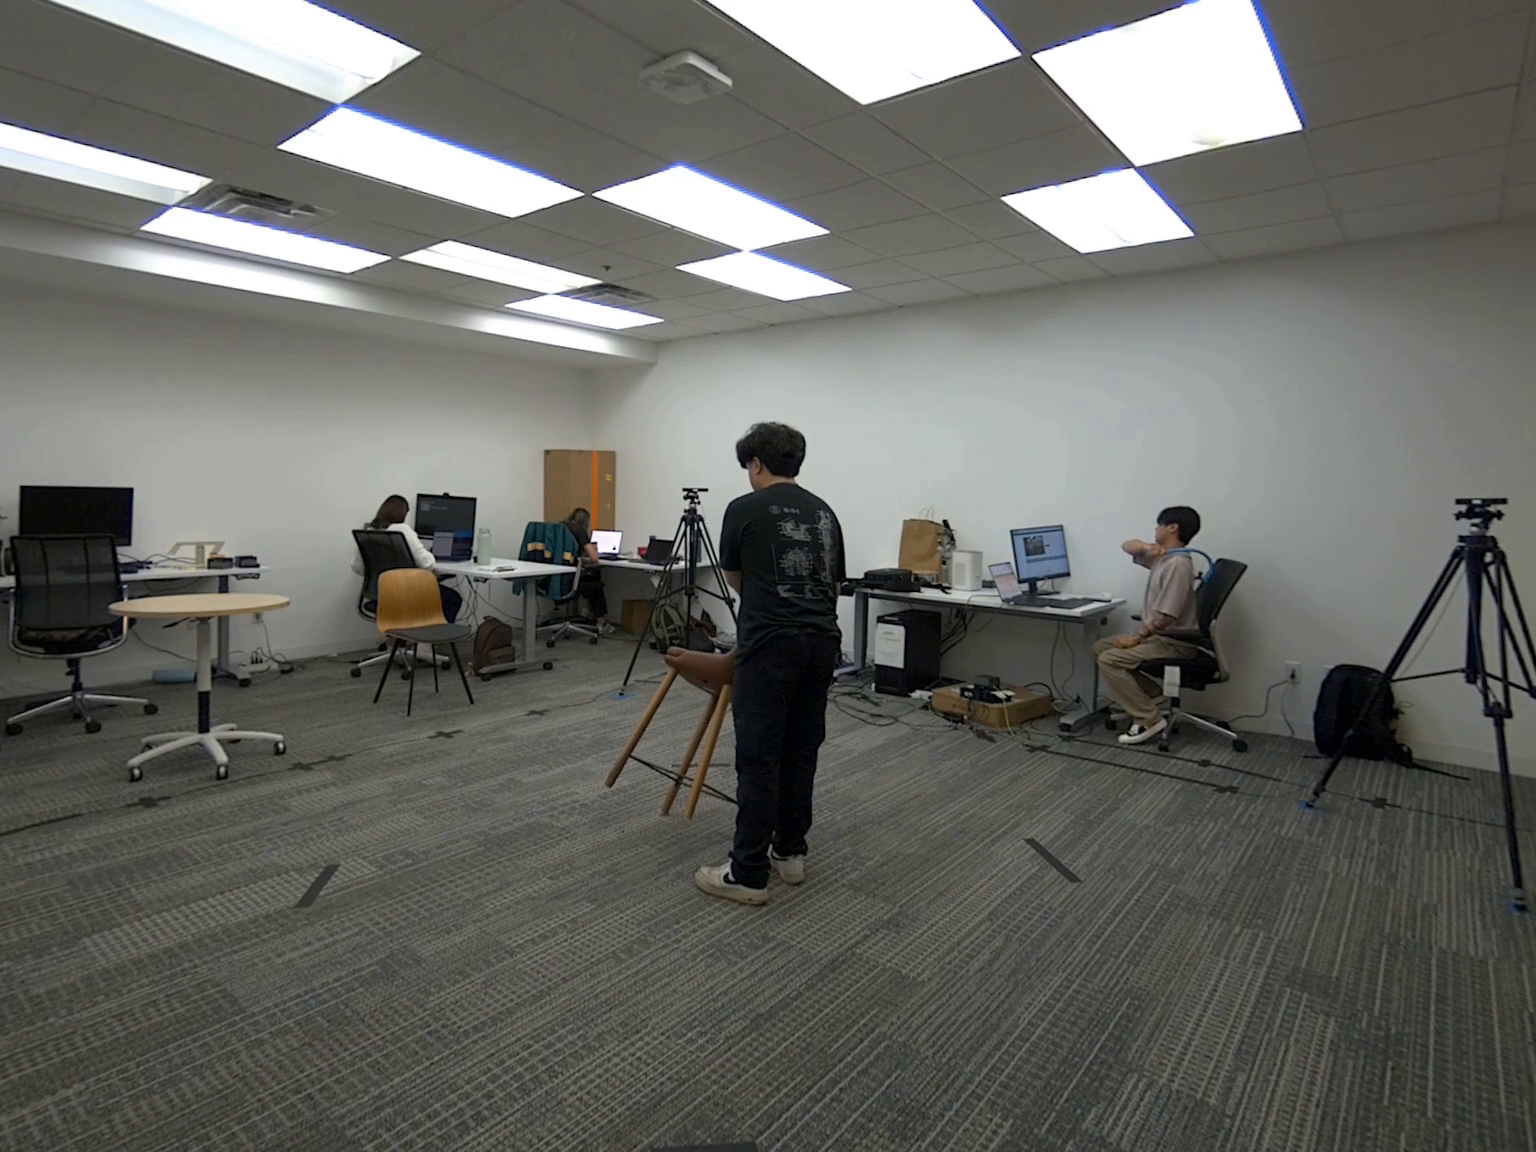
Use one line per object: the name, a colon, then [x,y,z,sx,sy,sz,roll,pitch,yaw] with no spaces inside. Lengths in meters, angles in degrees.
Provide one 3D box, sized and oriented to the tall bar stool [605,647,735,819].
tall bar stool: [-0.226,0.558,3.506,0.484,0.897,0.437,7,-24,40]
